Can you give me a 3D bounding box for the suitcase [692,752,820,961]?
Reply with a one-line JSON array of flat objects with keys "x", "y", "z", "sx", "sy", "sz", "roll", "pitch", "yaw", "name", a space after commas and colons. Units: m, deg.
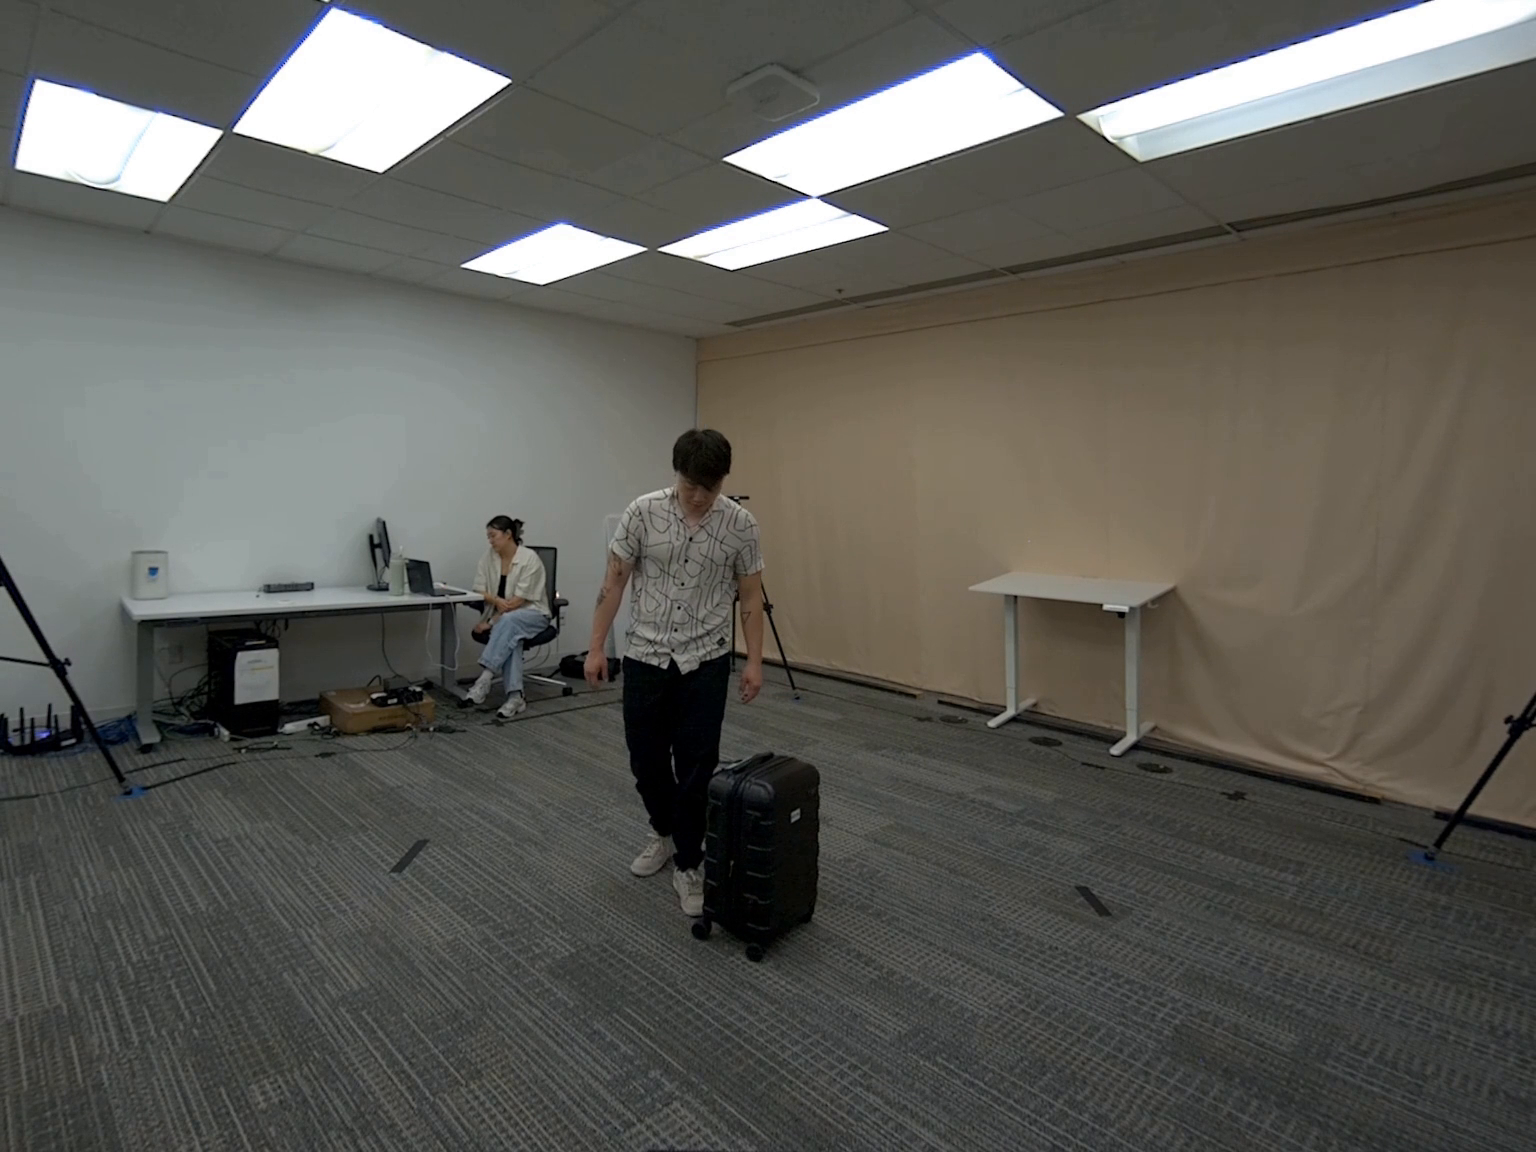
[{"x": -0.024, "y": 0.865, "z": 2.700, "sx": 0.254, "sy": 0.548, "sz": 0.367, "roll": 5, "pitch": 5, "yaw": 34, "name": "suitcase"}]
